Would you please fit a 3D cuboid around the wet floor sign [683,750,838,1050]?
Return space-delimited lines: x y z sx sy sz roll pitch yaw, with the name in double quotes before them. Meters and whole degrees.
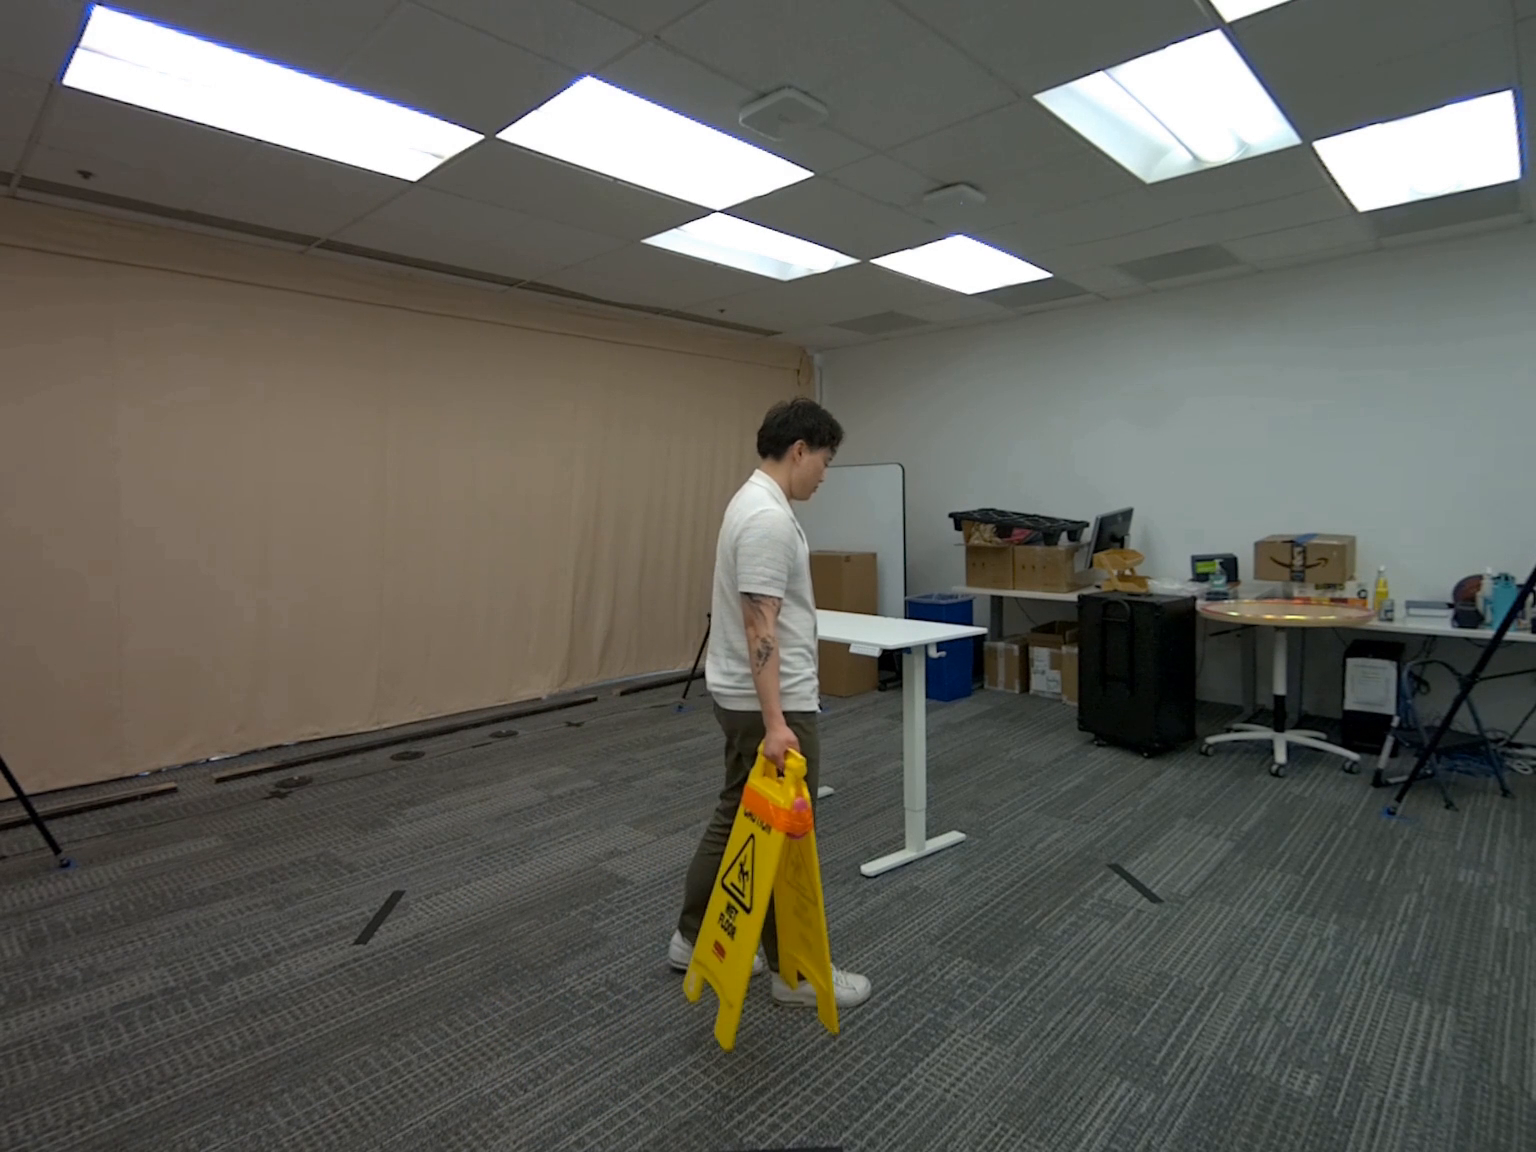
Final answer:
"wet floor sign" 0.010 0.736 2.047 0.282 0.646 0.289 5 -1 -25
